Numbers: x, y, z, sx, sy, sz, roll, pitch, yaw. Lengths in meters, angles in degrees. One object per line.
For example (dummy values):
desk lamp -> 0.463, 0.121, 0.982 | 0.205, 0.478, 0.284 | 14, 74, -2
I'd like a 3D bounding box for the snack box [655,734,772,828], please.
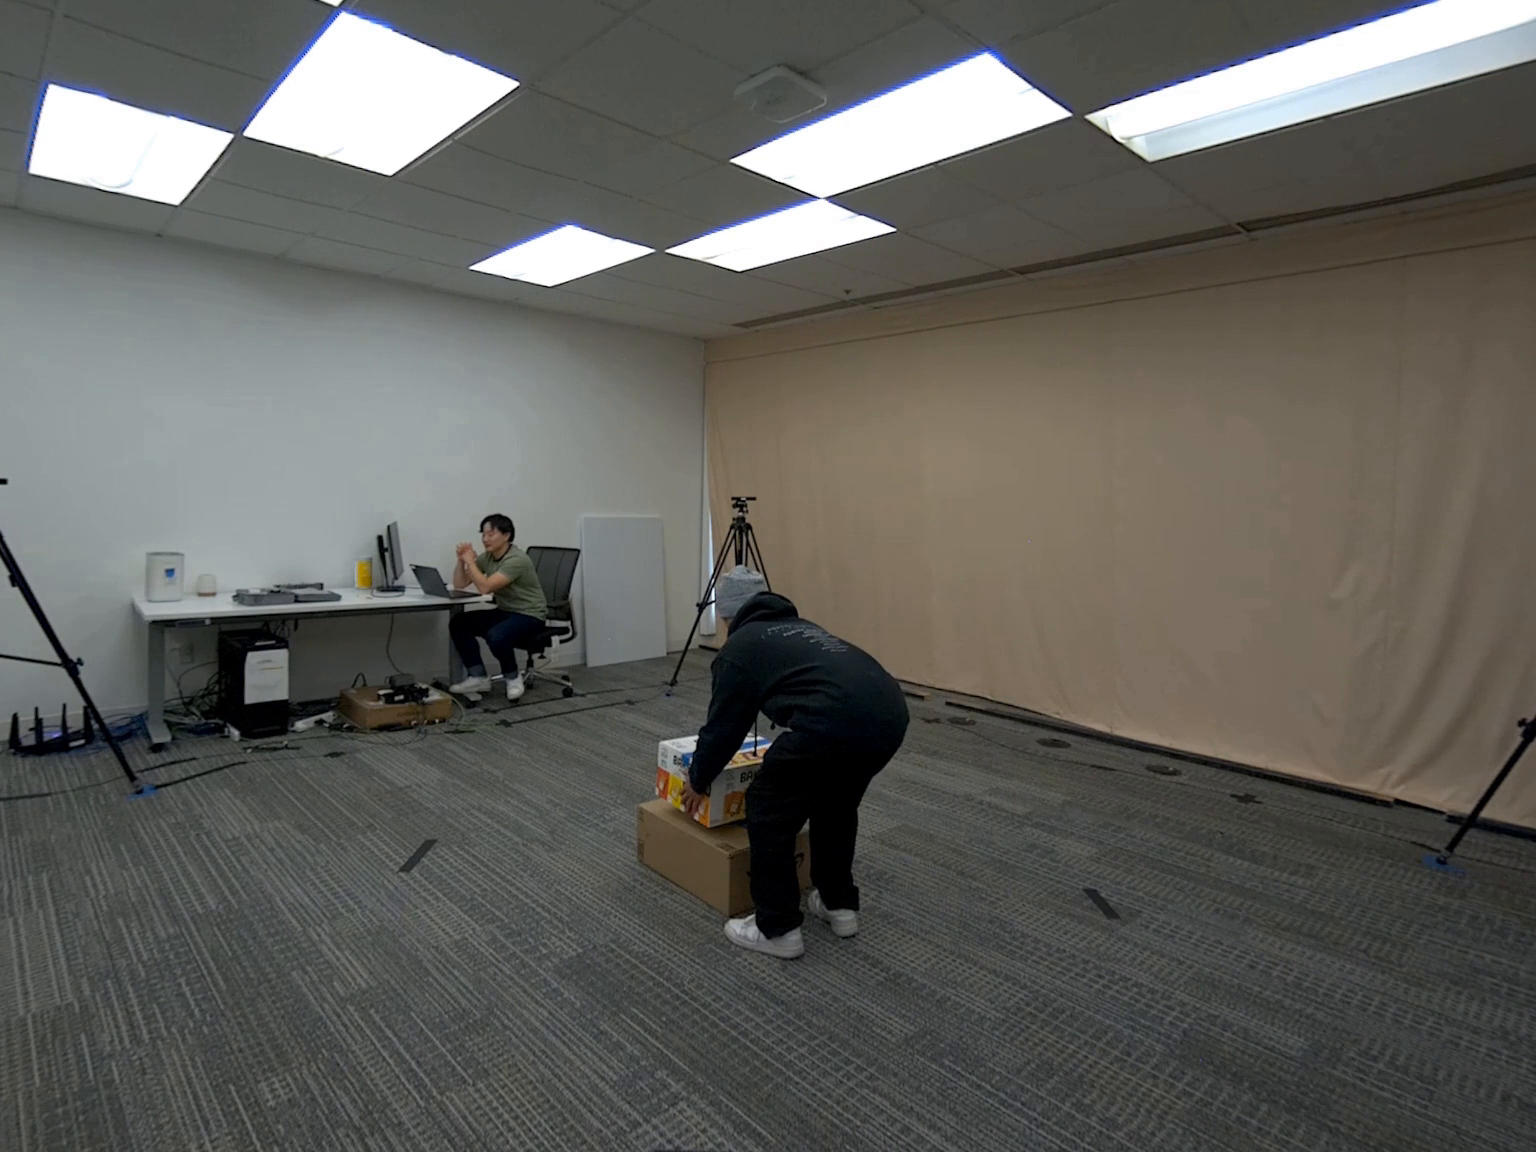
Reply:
snack box -> -0.160, 0.742, 3.146 | 0.396, 0.205, 0.350 | -1, 9, -40
